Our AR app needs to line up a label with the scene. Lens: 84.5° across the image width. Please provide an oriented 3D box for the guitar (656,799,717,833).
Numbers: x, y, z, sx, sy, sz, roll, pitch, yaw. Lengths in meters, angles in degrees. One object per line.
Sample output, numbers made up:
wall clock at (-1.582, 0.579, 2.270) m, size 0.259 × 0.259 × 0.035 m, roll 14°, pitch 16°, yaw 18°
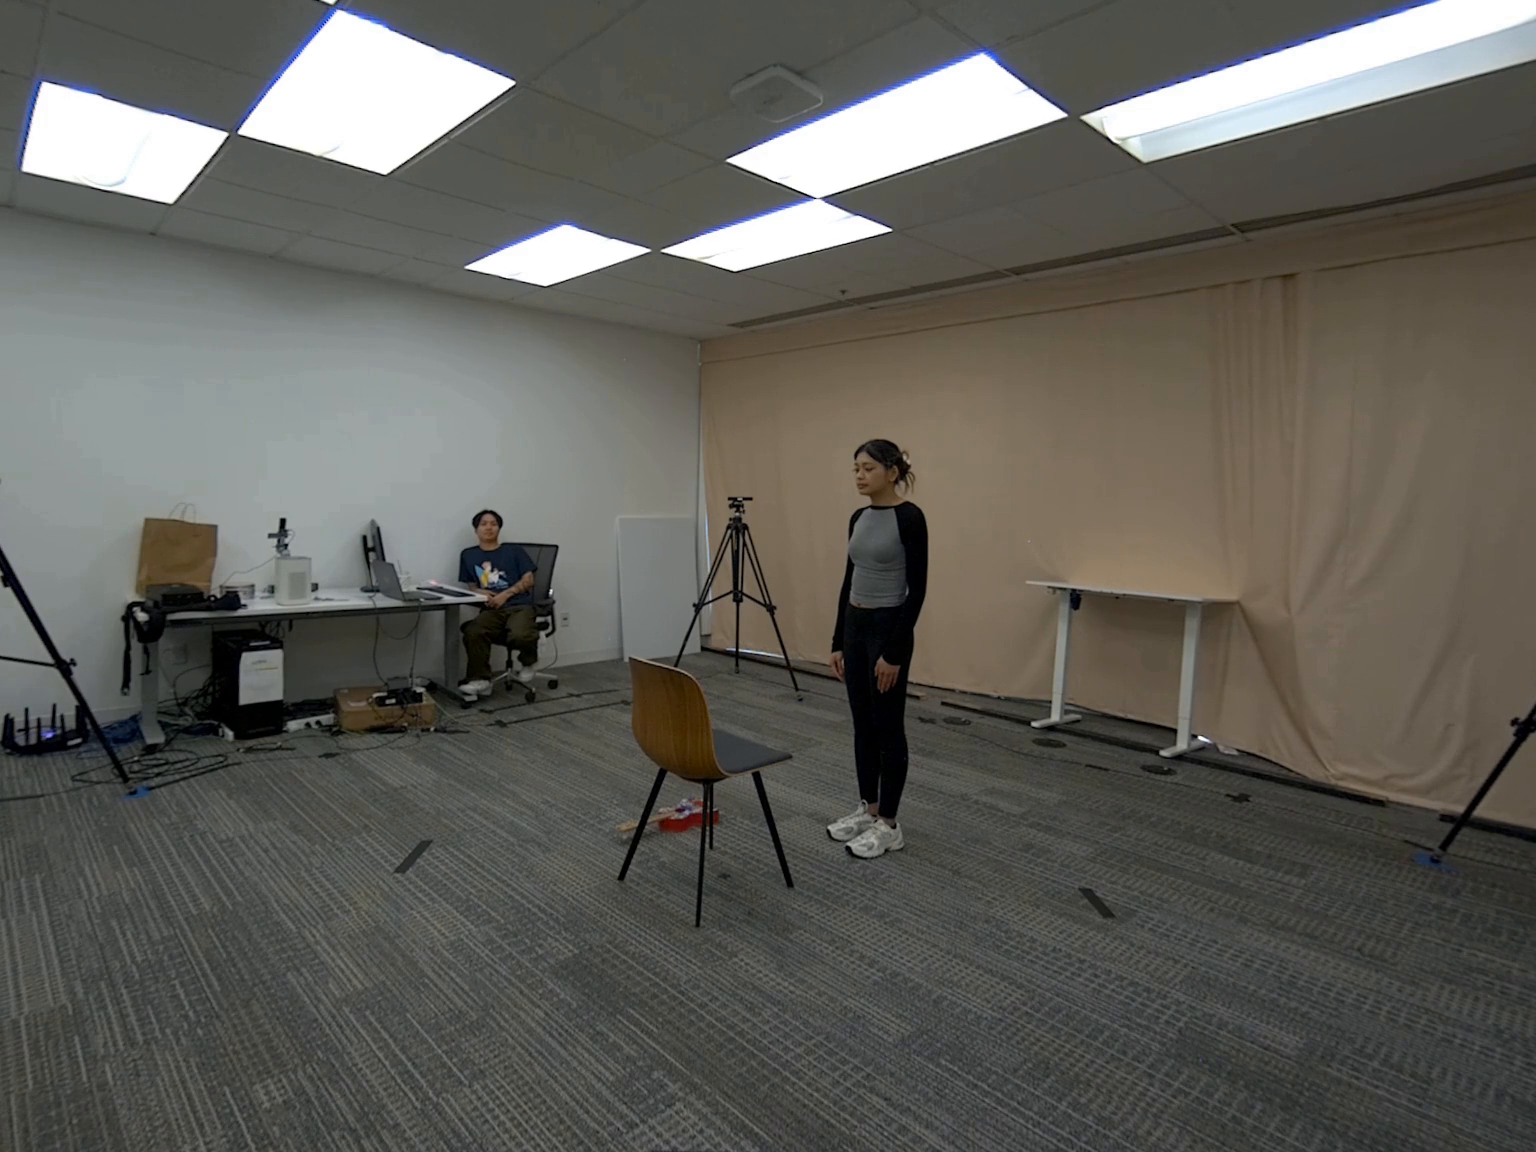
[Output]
guitar at (-0.445, 1.020, 3.560) m, size 0.487 × 0.070 × 0.198 m, roll -2°, pitch 6°, yaw -36°
